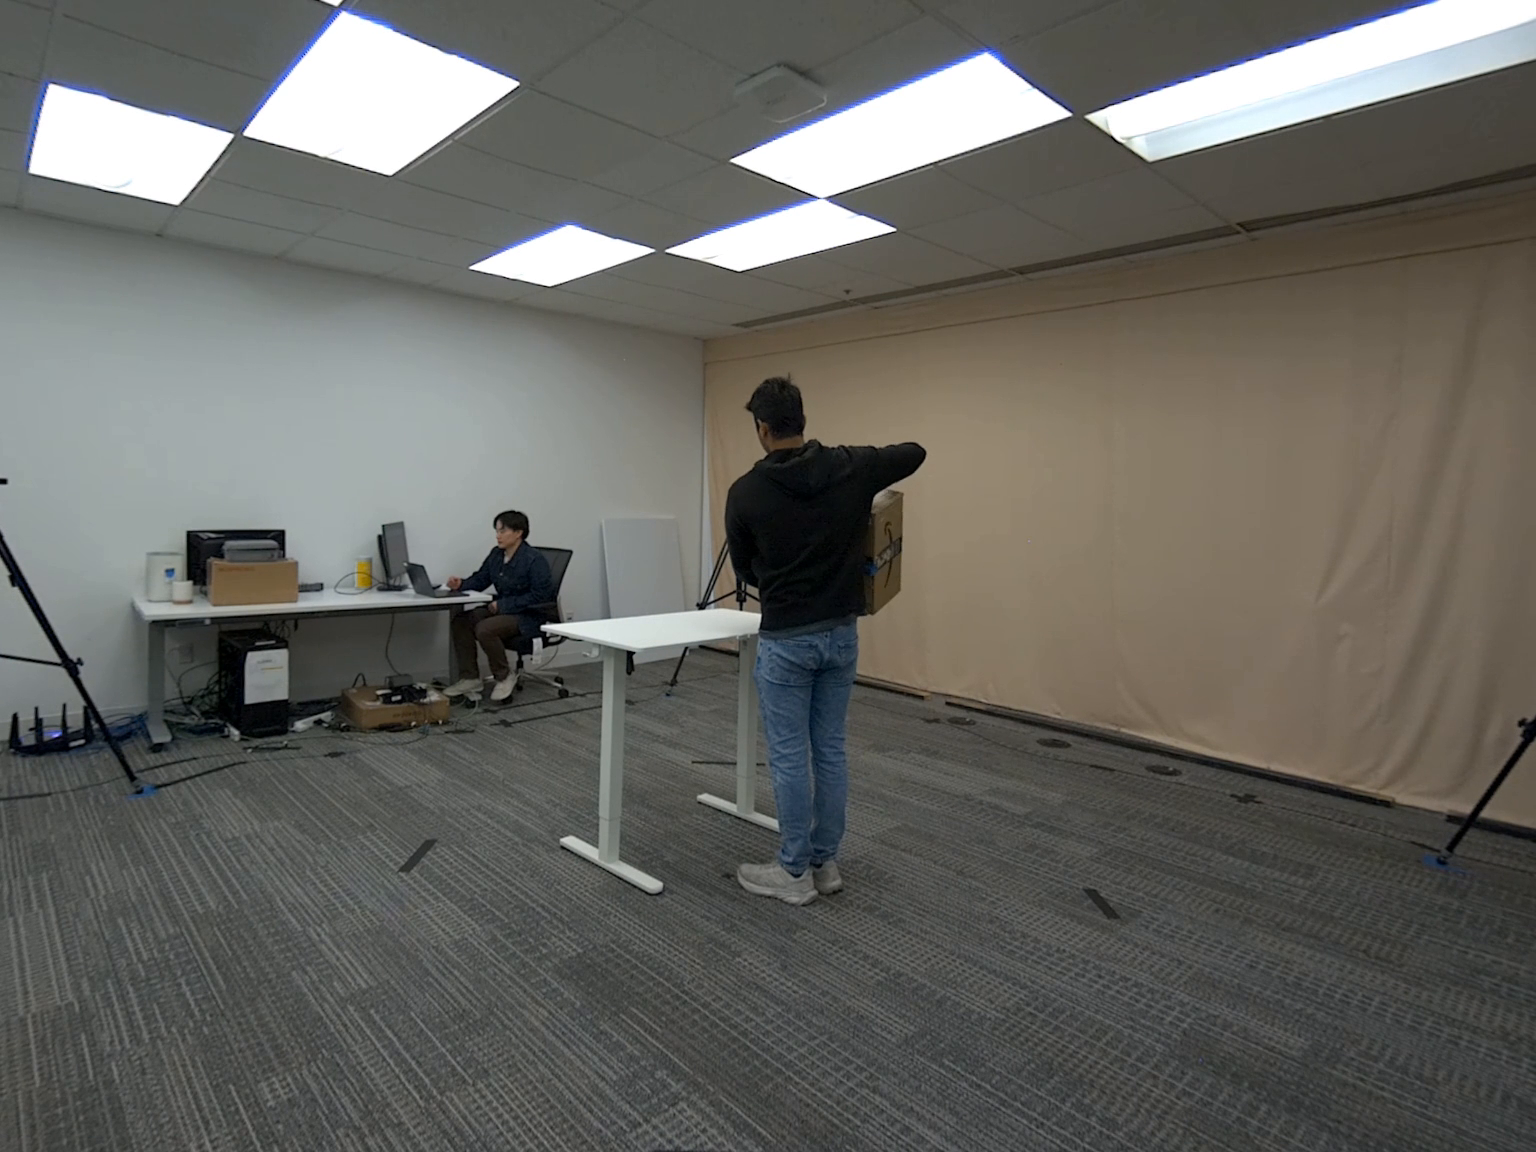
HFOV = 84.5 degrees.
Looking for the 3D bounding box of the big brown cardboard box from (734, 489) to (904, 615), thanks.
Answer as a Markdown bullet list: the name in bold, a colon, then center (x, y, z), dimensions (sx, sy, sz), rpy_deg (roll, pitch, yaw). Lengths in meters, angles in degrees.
- **big brown cardboard box**: center (0.216, -0.143, 3.239), dimensions (0.605, 0.410, 0.231), rpy_deg (18, 33, 36)
